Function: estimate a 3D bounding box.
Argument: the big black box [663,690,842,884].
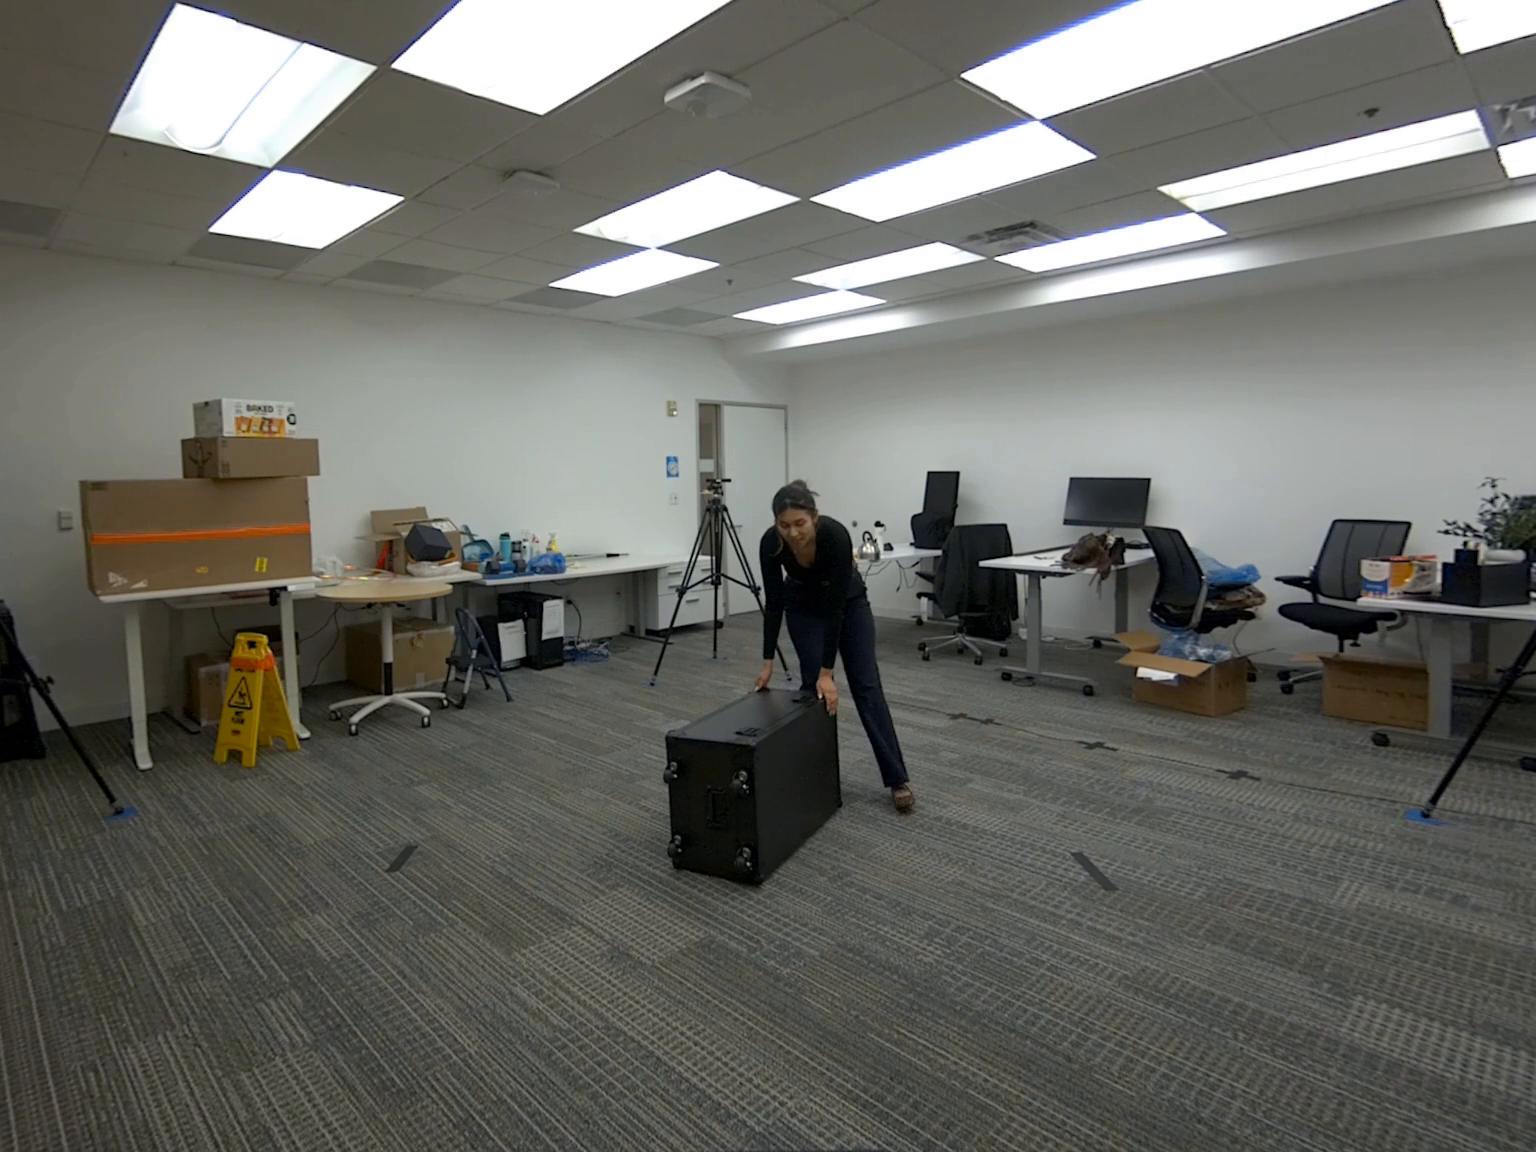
[{"bbox_3d":[-0.057,0.767,3.297,0.405,0.519,0.845,0,5,26],"label":"big black box"}]
